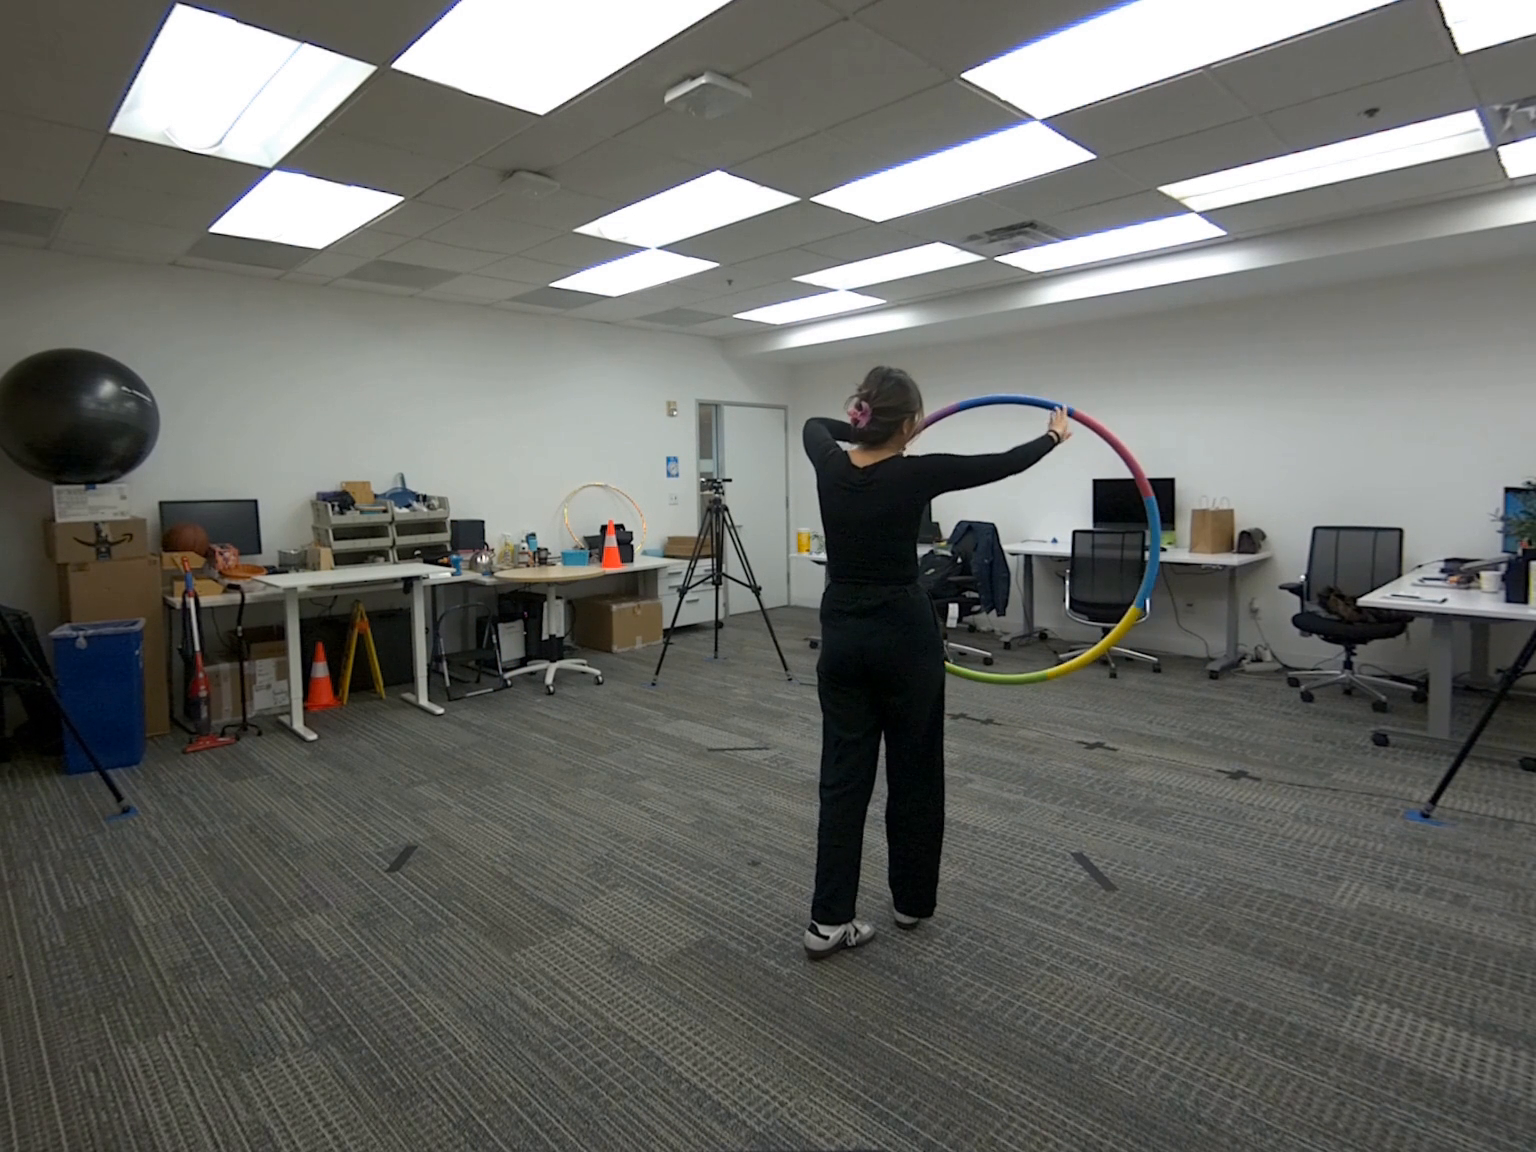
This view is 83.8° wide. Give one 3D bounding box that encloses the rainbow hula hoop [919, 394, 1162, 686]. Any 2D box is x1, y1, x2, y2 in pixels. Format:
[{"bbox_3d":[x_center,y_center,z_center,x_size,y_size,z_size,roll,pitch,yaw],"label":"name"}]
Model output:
[{"bbox_3d":[0.780,-0.110,2.896,0.998,0.981,0.051,0,4,13],"label":"rainbow hula hoop"}]
